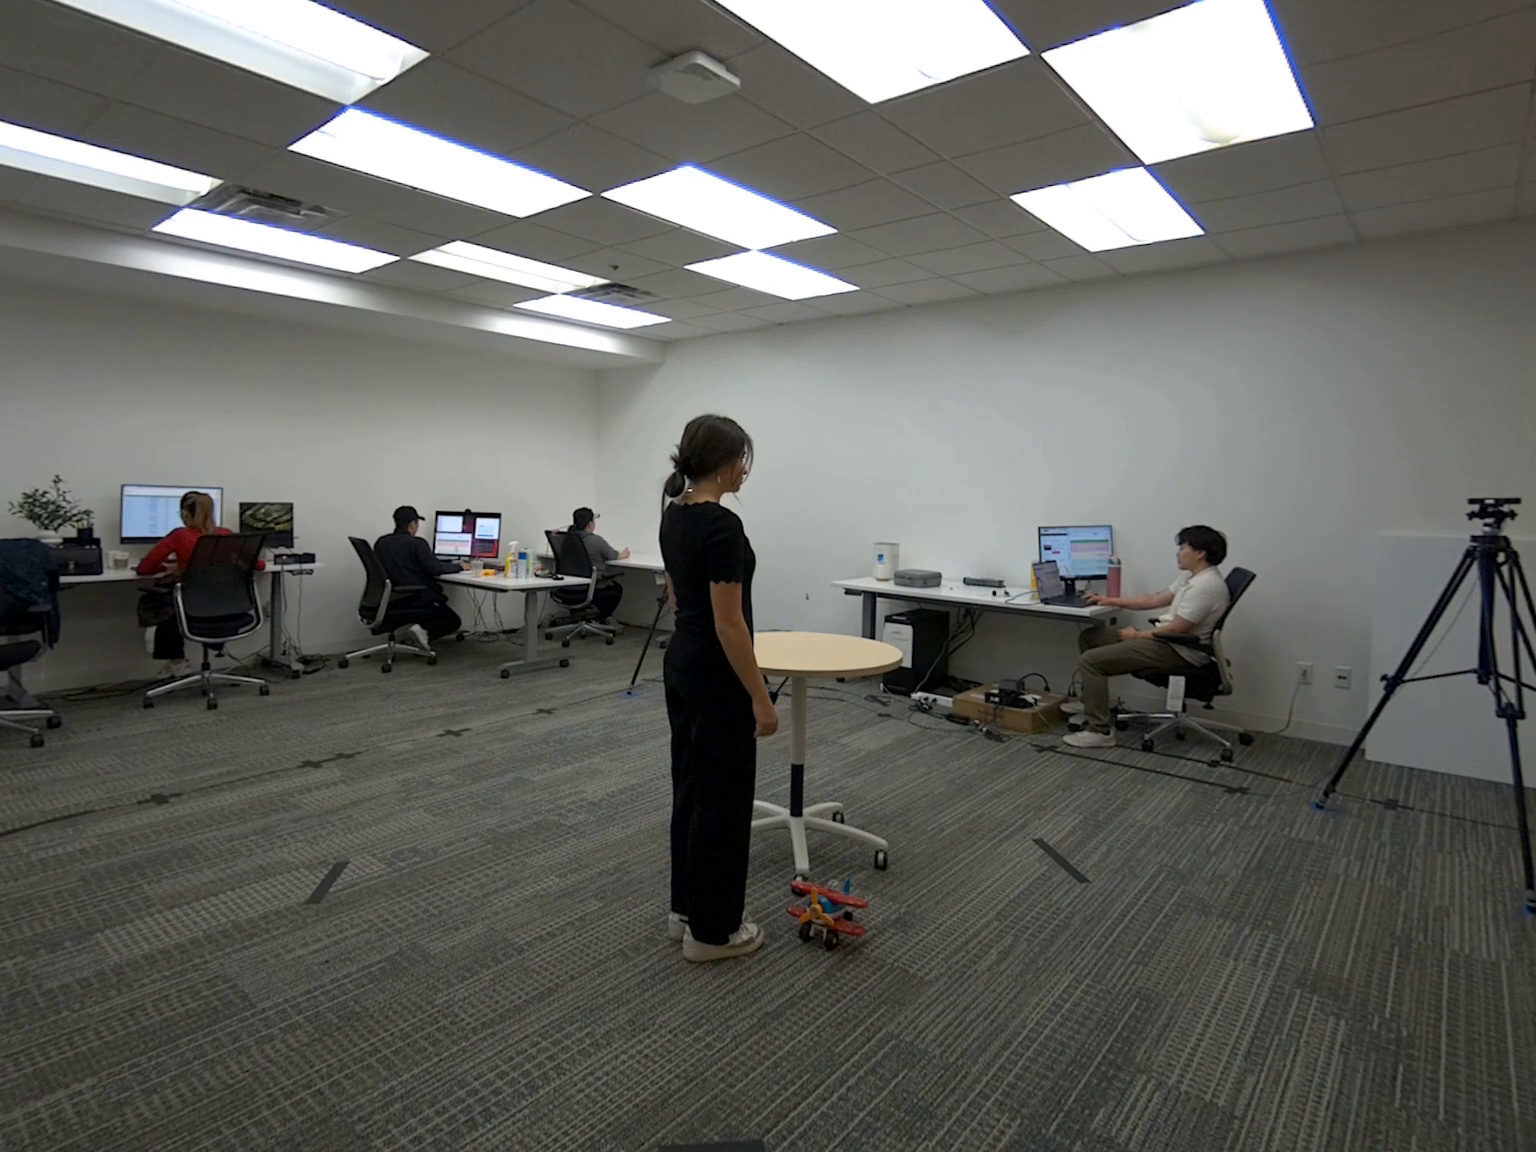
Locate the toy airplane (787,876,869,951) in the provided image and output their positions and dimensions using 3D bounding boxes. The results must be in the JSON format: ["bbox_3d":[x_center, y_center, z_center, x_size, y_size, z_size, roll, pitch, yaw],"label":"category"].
[{"bbox_3d":[0.175,1.050,2.689,0.252,0.155,0.260,2,6,2],"label":"toy airplane"}]
